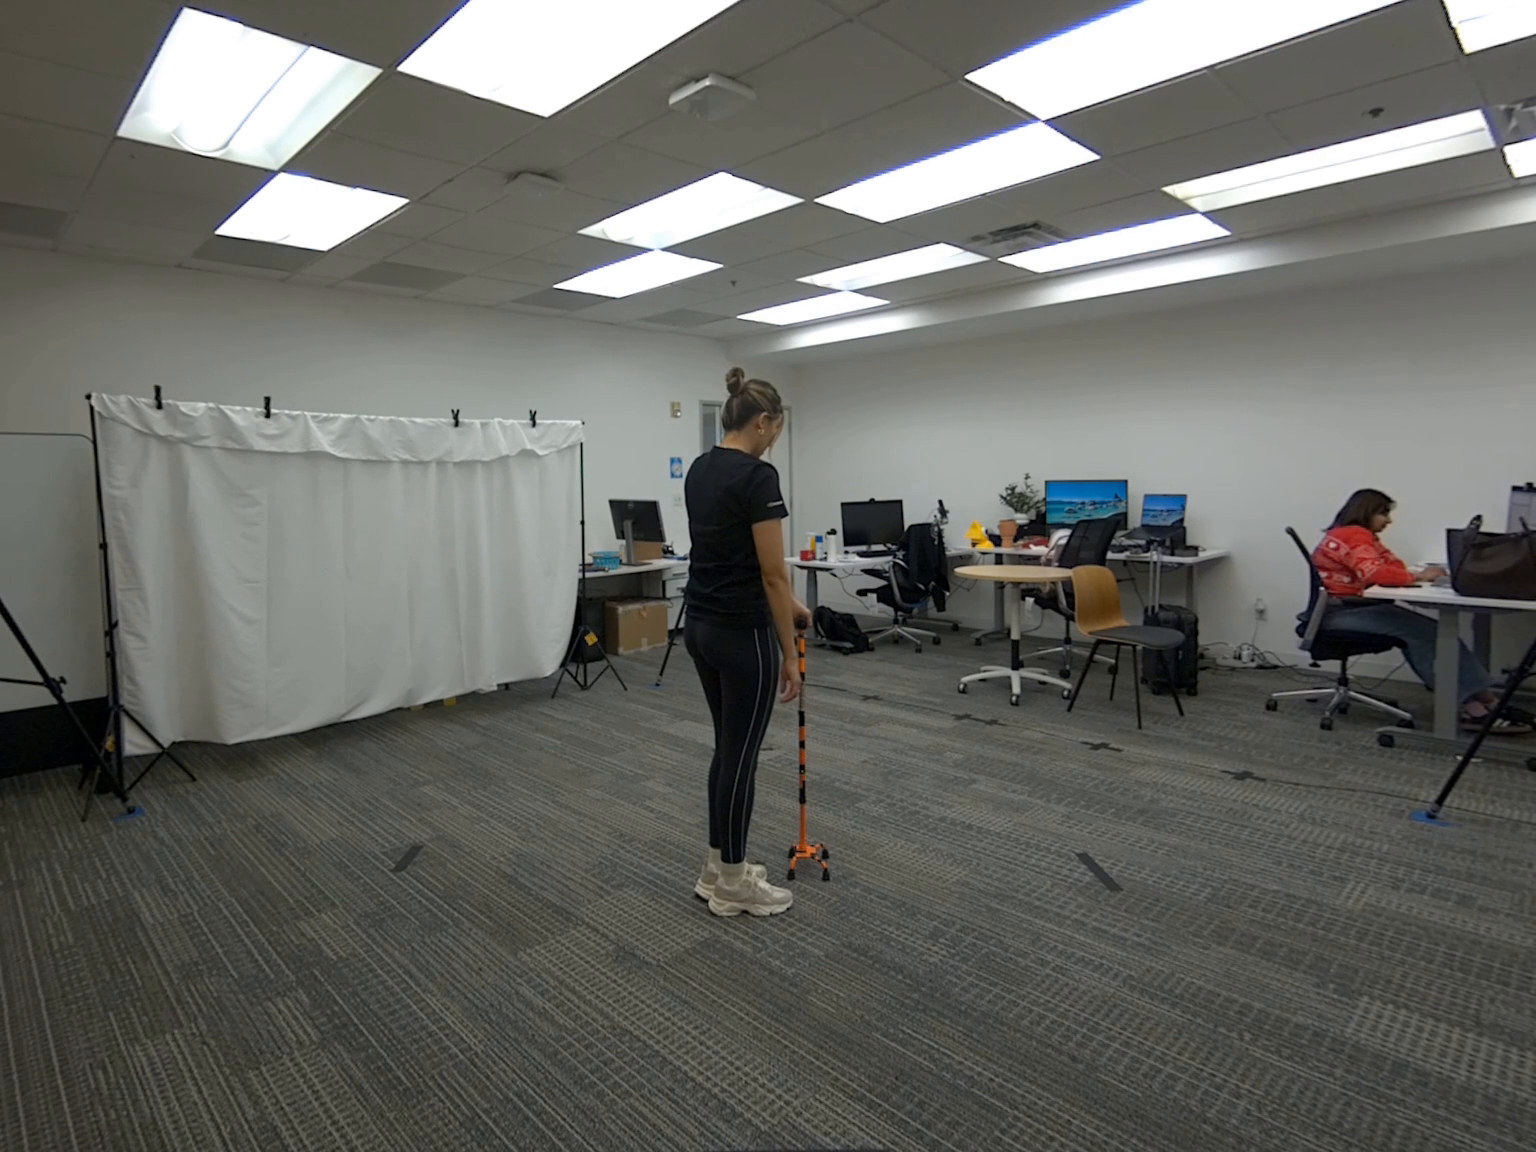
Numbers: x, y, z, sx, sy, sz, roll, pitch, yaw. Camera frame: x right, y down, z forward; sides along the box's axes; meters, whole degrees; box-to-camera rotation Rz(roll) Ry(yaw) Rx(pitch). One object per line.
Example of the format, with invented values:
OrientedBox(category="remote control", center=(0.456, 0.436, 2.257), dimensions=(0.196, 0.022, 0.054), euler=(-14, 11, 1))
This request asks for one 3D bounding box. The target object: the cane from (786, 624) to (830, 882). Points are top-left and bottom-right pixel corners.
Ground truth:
OrientedBox(category="cane", center=(0.142, 0.602, 3.044), dimensions=(0.152, 0.906, 0.206), euler=(-1, 3, 3))
